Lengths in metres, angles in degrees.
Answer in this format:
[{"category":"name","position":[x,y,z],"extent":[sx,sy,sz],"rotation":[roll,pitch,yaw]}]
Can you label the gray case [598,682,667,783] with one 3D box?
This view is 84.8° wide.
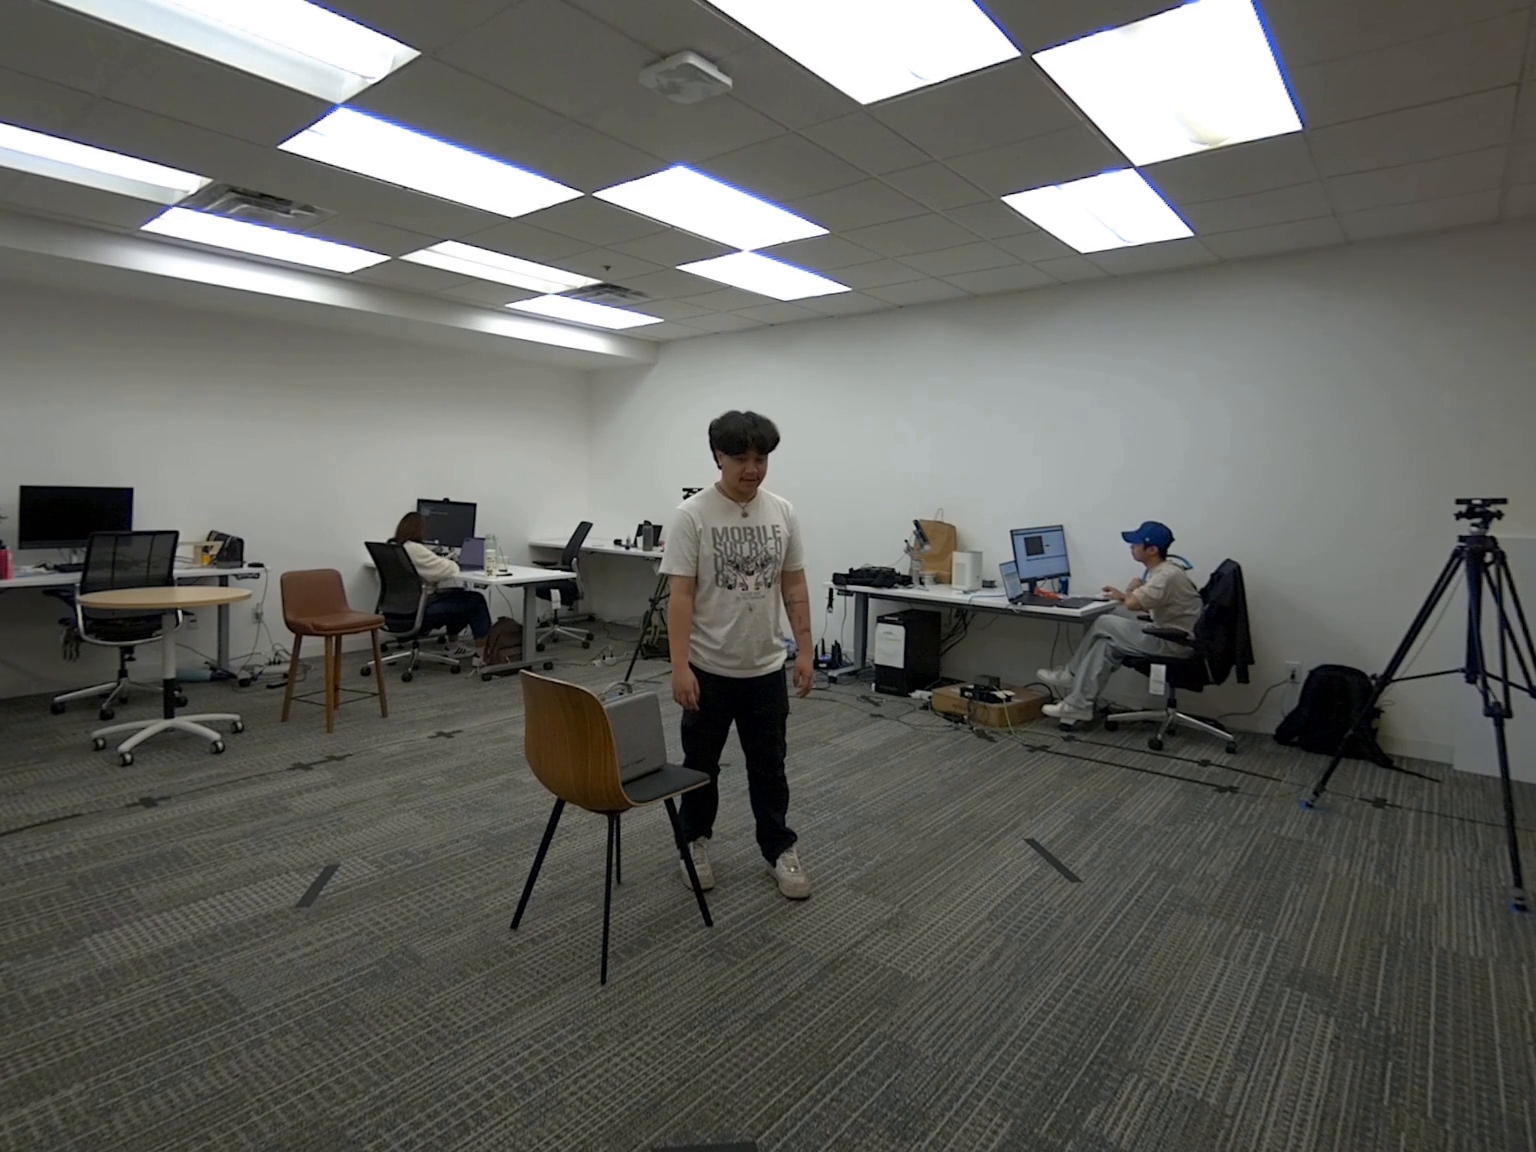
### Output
[{"category":"gray case","position":[-0.458,0.503,2.686],"extent":[0.107,0.261,0.250],"rotation":[-9,0,44]}]
